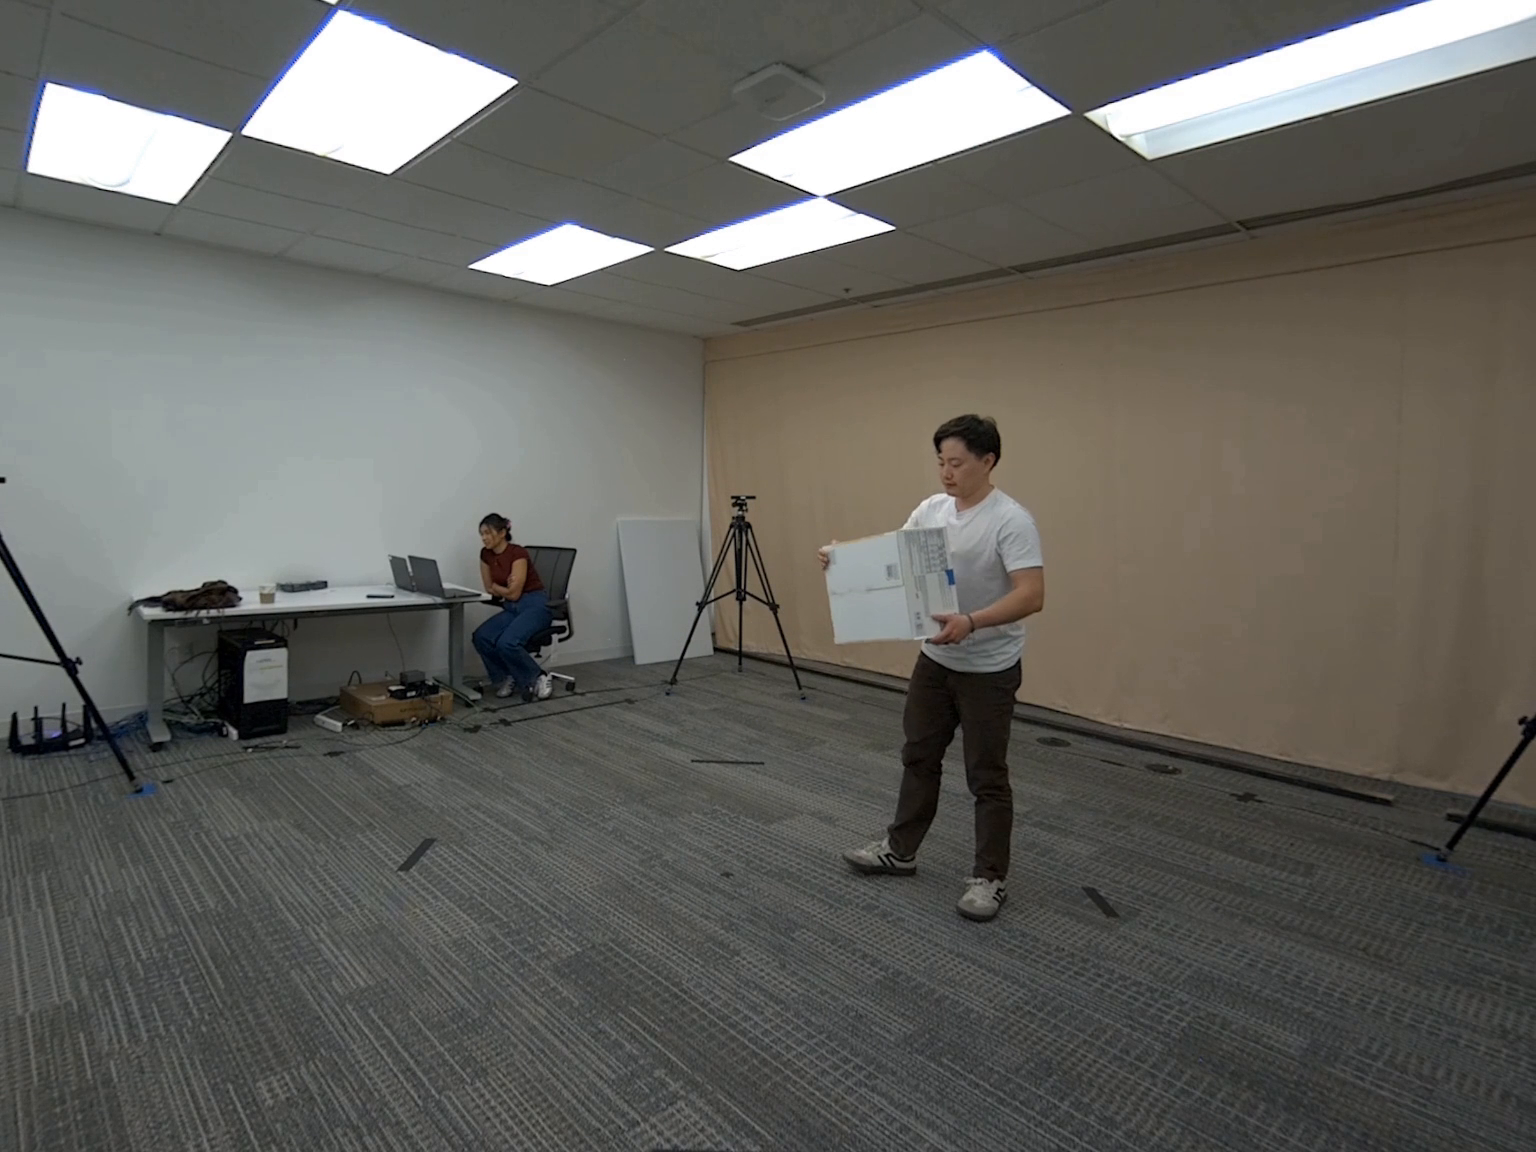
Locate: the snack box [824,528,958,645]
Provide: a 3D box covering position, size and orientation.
[{"bbox_3d":[0.380,0.040,2.745,0.202,0.342,0.411,-5,-5,-31],"label":"snack box"}]
